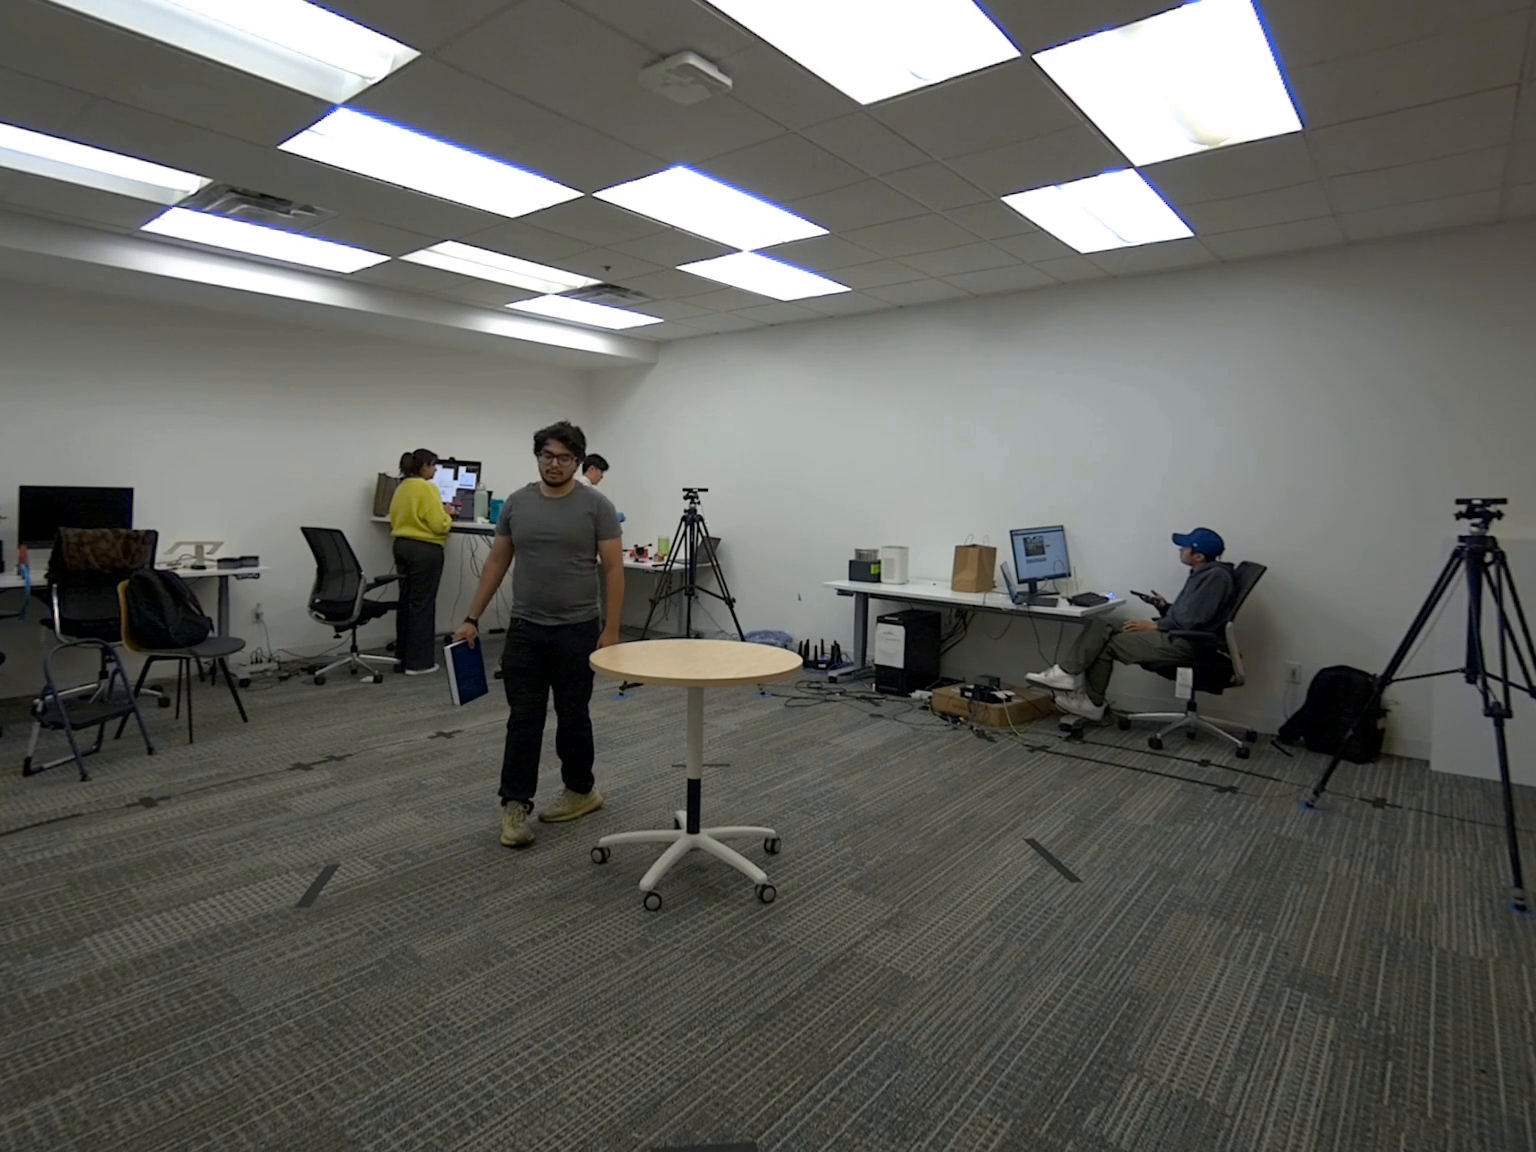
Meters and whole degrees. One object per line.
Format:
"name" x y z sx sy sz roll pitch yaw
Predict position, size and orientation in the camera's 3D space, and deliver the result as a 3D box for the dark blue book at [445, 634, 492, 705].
"dark blue book" -1.230 0.377 3.453 0.046 0.243 0.160 -3 8 27
